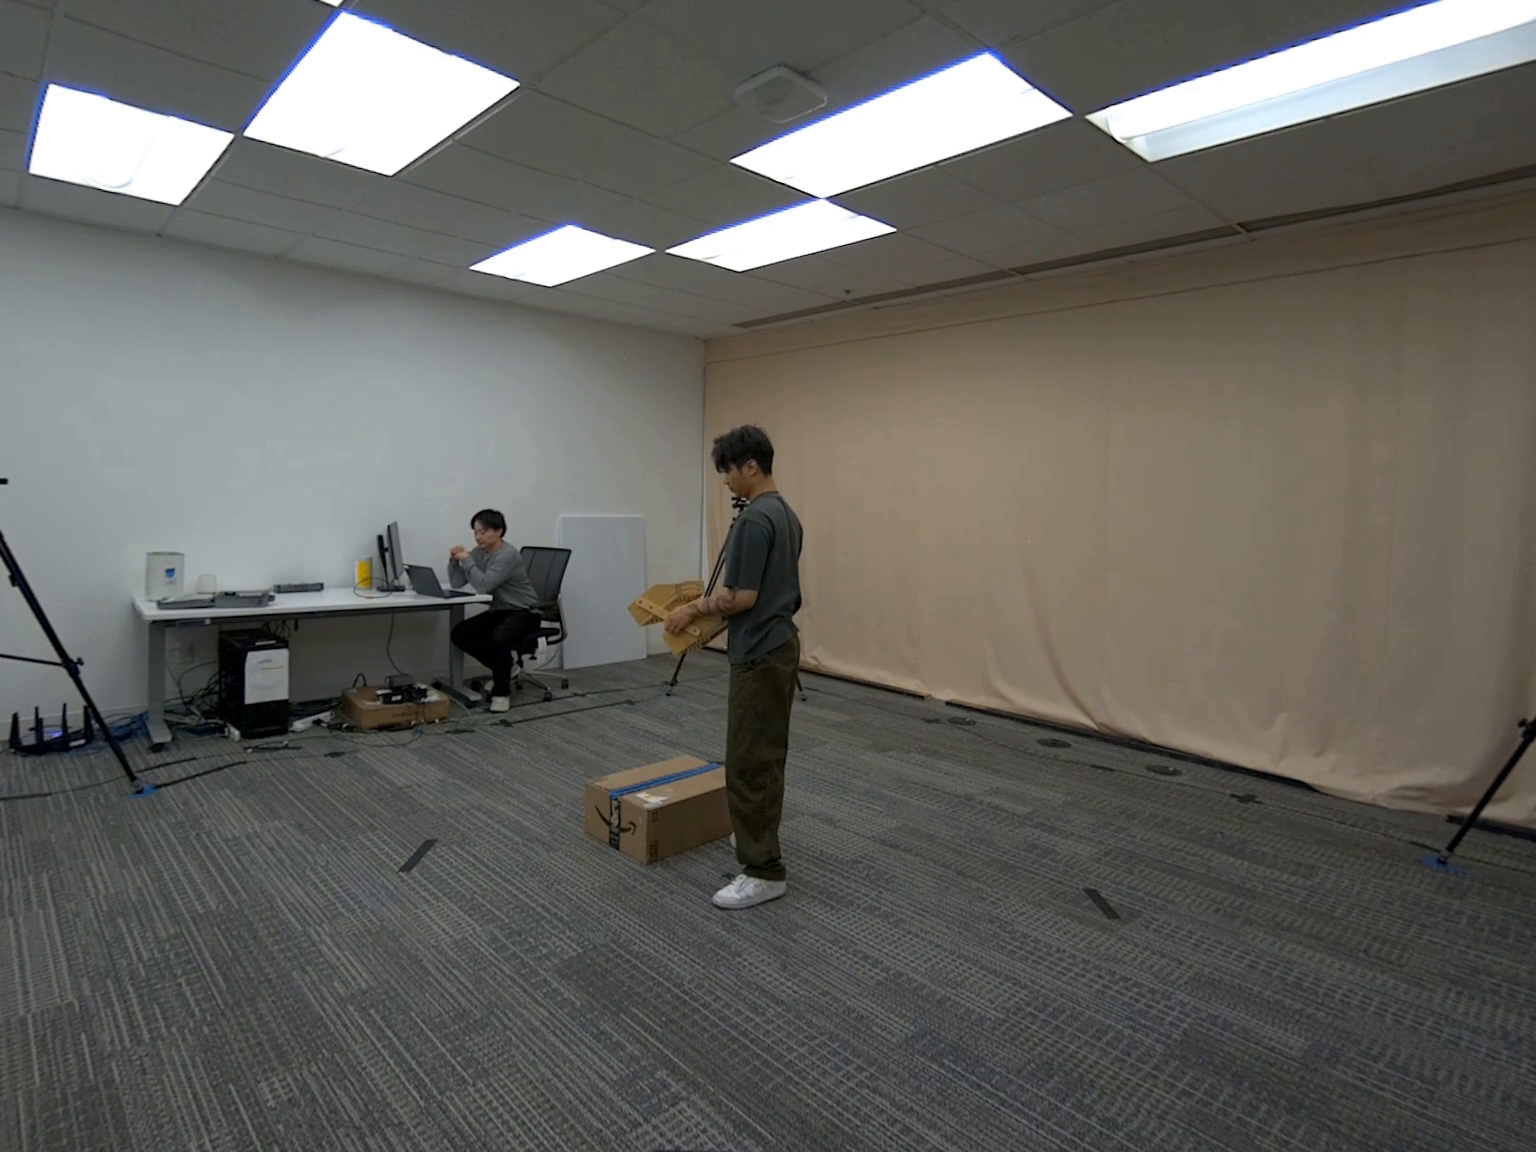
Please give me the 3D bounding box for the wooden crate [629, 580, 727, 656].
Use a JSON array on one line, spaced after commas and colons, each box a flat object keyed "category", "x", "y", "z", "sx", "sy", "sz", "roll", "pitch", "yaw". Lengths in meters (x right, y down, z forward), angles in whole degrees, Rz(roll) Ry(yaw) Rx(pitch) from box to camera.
[{"category": "wooden crate", "x": -0.305, "y": 0.121, "z": 3.231, "sx": 0.303, "sy": 0.277, "sz": 0.320, "roll": -38, "pitch": -10, "yaw": 15}]
